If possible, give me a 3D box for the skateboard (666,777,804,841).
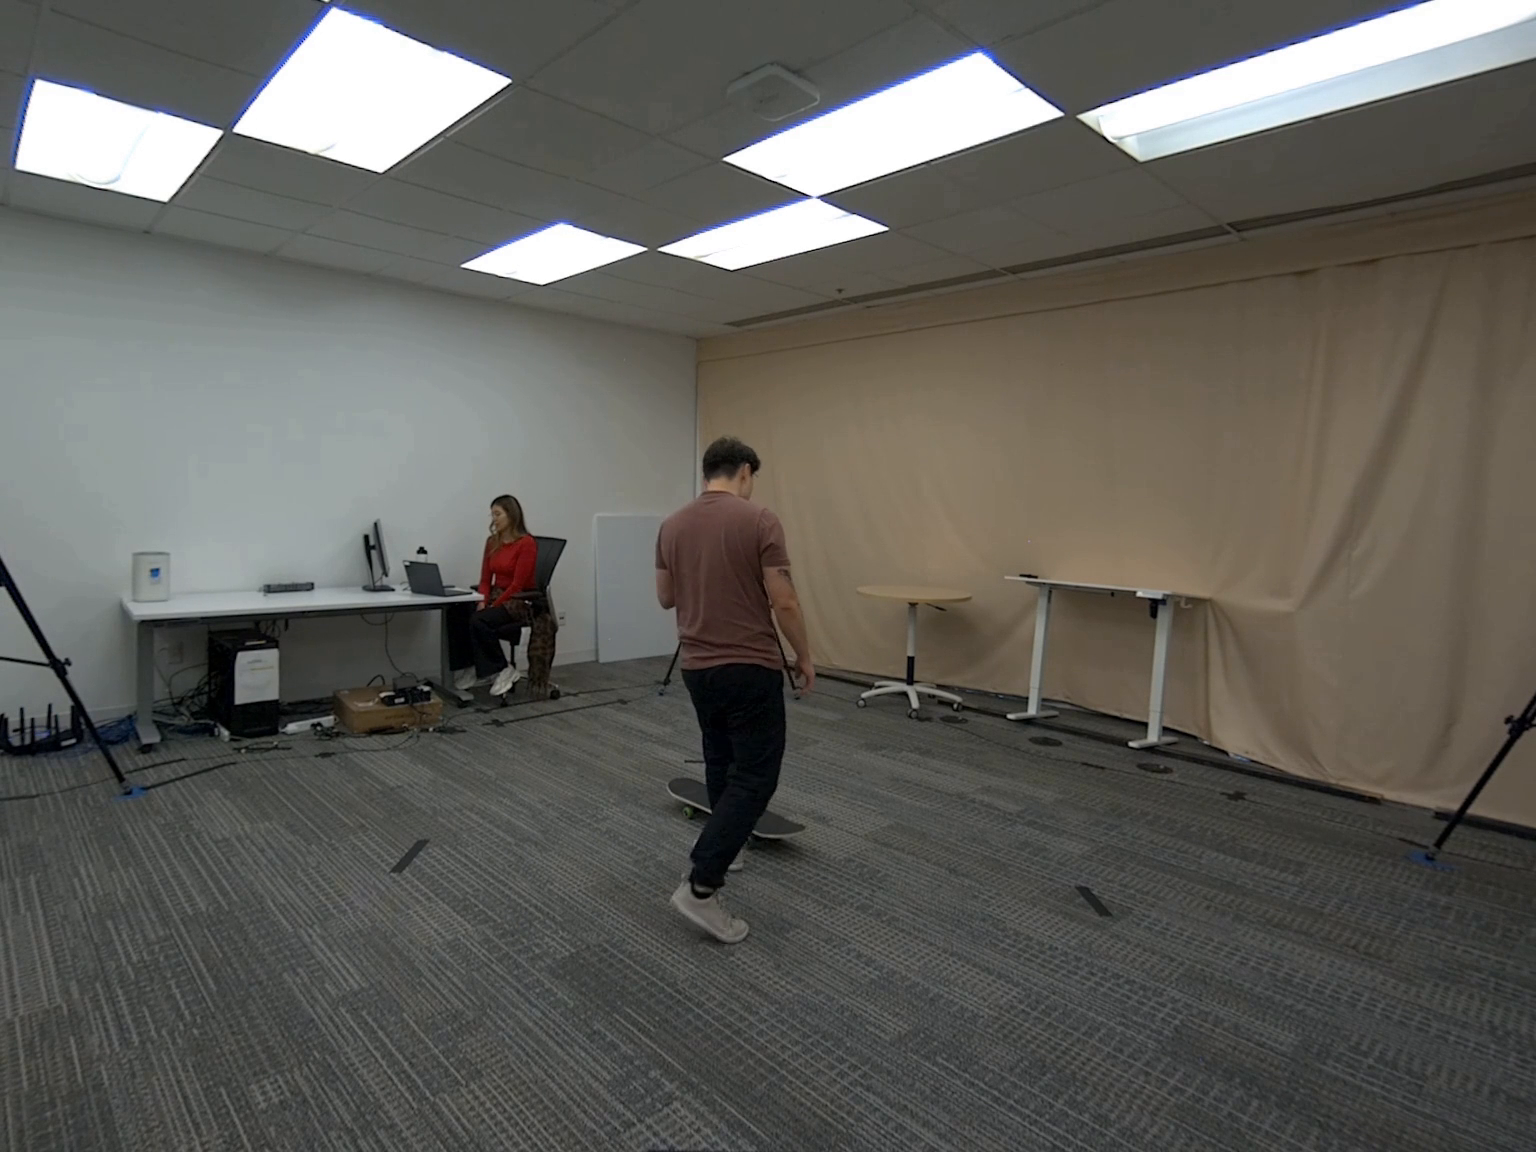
[{"bbox_3d":[-0.160,1.010,3.545,0.189,0.110,0.806,-4,8,-42],"label":"skateboard"}]
